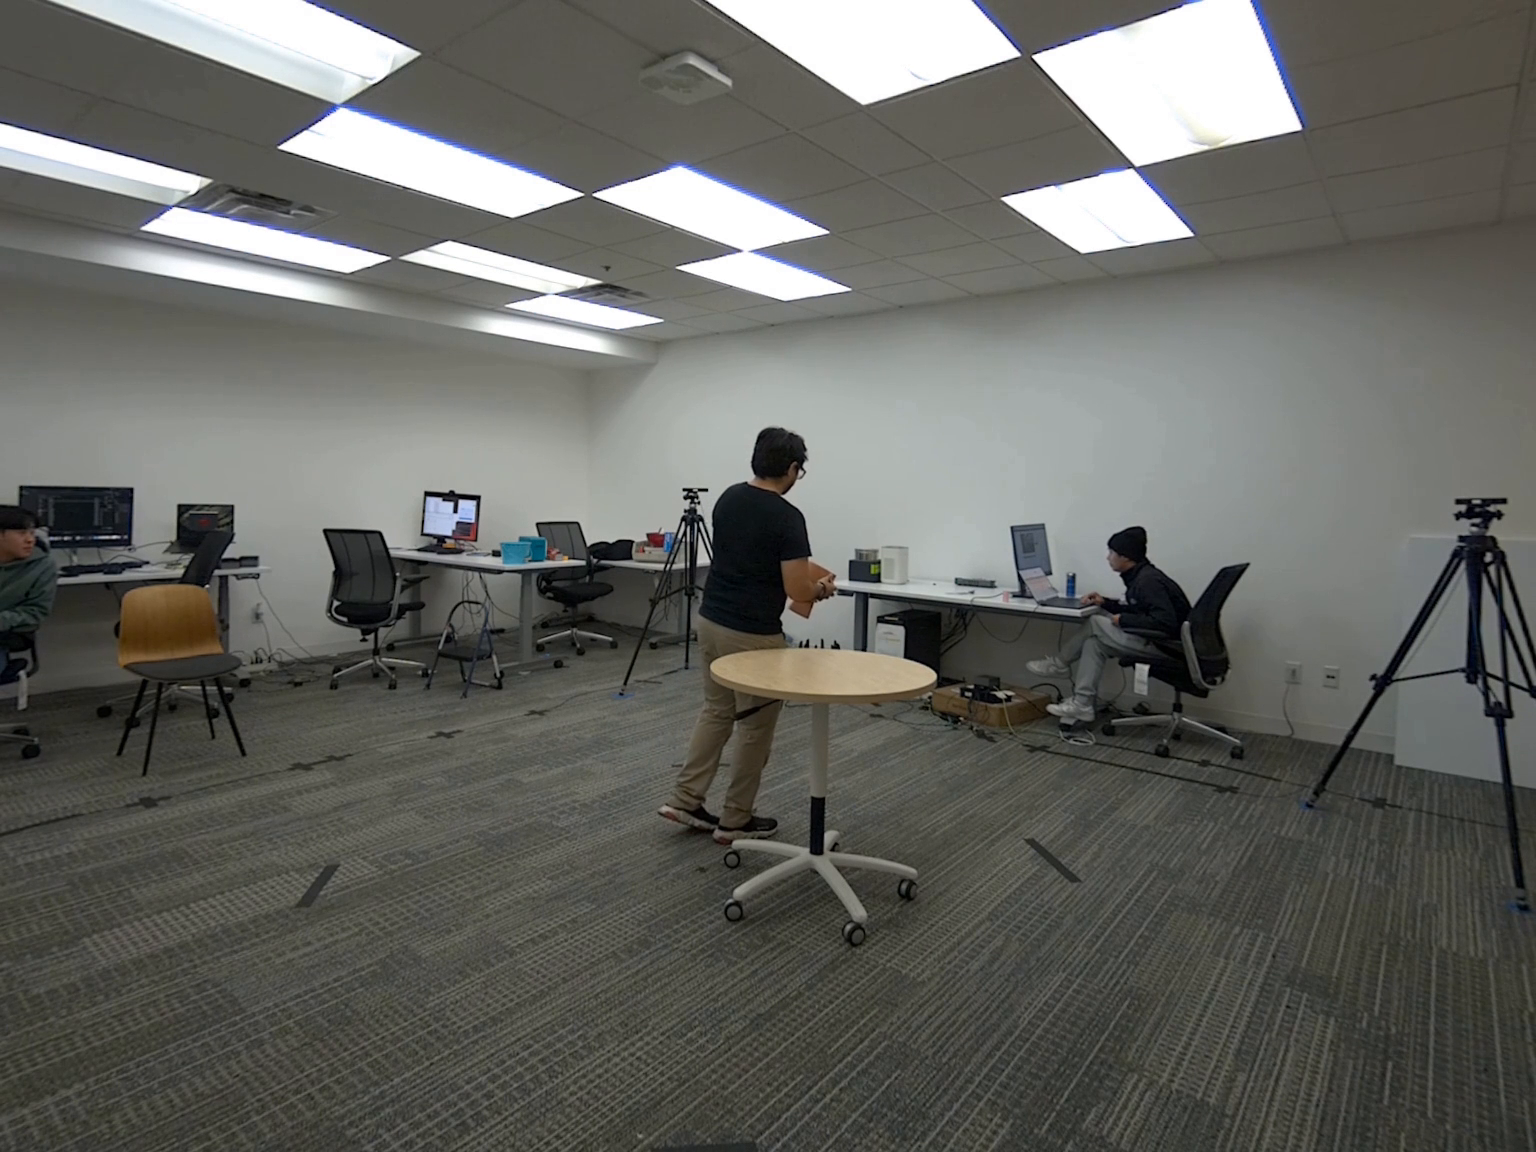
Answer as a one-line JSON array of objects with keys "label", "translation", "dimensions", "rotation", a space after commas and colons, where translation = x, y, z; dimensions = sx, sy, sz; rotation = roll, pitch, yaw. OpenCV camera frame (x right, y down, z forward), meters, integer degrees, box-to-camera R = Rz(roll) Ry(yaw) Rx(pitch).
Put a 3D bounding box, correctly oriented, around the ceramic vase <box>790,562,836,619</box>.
[{"label": "ceramic vase", "translation": [0.166, 0.062, 3.591], "dimensions": [0.134, 0.219, 0.159], "rotation": [29, 2, -3]}]
